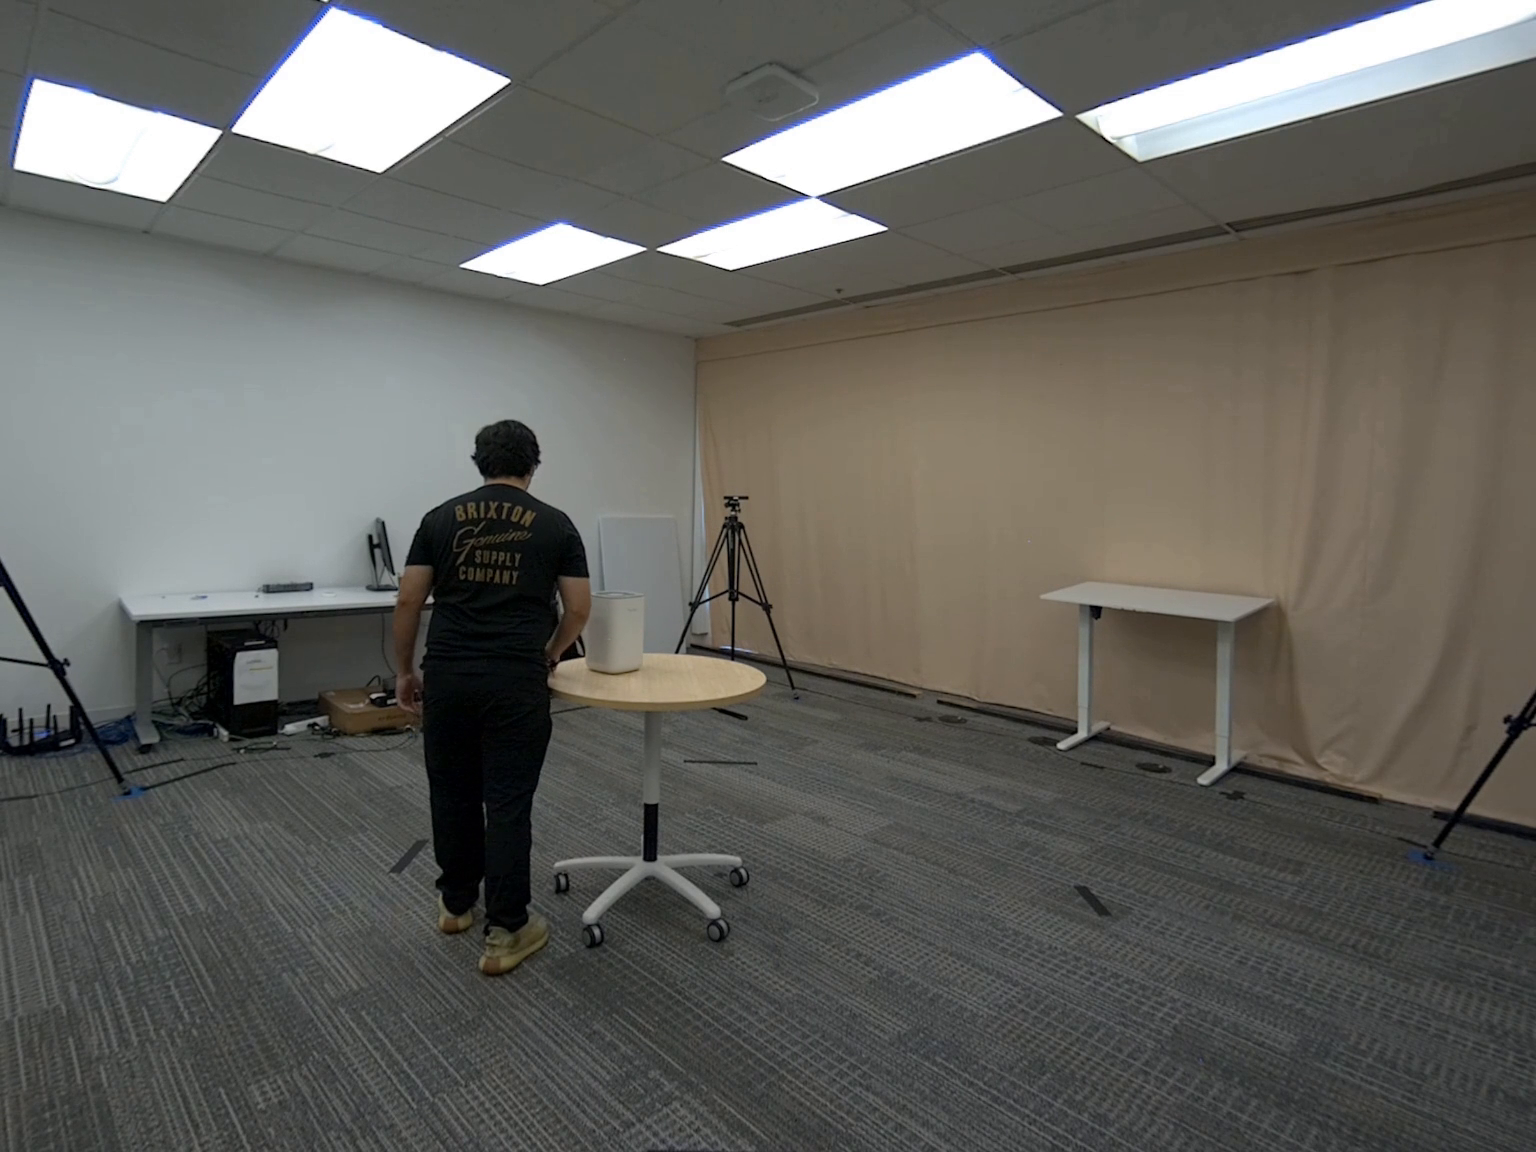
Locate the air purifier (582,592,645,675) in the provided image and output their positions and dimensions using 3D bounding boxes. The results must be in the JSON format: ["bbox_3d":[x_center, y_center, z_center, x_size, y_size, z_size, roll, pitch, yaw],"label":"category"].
[{"bbox_3d":[-0.539,0.197,2.914,0.176,0.265,0.167,4,4,35],"label":"air purifier"}]
